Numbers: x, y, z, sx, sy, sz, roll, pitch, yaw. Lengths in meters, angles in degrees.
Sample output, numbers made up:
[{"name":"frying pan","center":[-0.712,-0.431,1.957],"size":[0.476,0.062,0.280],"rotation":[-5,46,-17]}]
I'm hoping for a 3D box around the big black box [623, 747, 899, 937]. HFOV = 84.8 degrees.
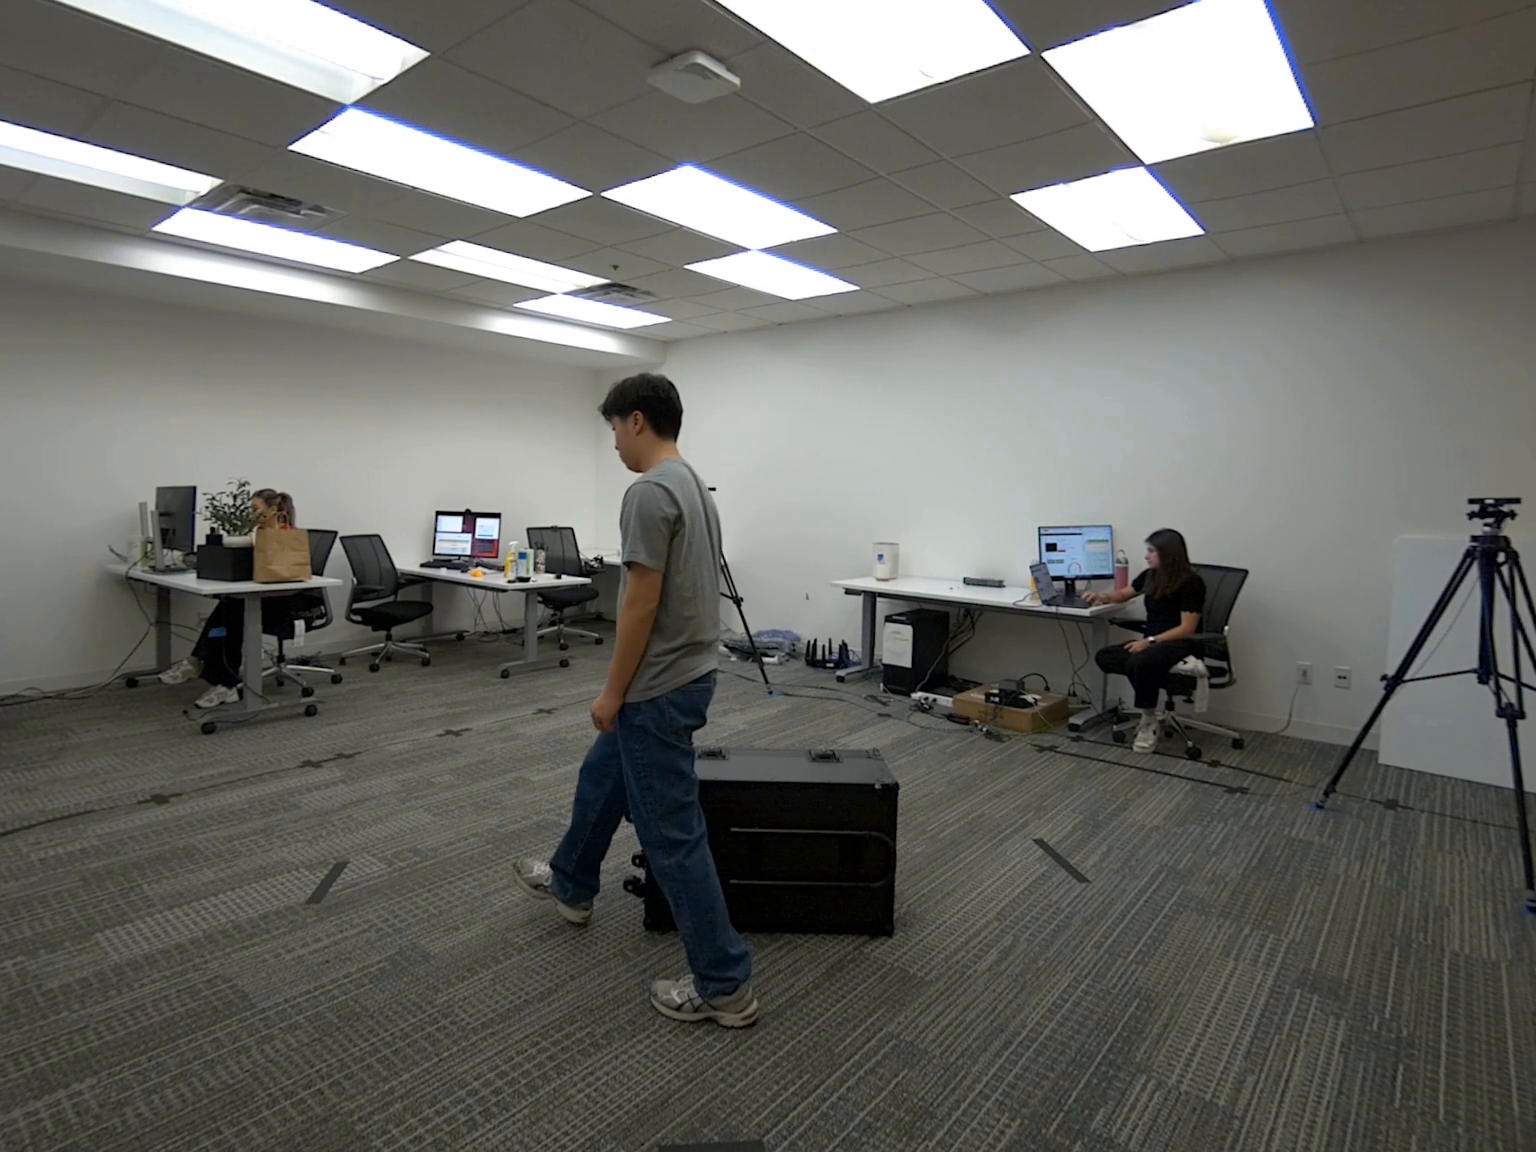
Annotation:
[{"name":"big black box","center":[-0.037,0.856,2.807],"size":[0.862,0.520,0.397],"rotation":[1,4,0]}]
